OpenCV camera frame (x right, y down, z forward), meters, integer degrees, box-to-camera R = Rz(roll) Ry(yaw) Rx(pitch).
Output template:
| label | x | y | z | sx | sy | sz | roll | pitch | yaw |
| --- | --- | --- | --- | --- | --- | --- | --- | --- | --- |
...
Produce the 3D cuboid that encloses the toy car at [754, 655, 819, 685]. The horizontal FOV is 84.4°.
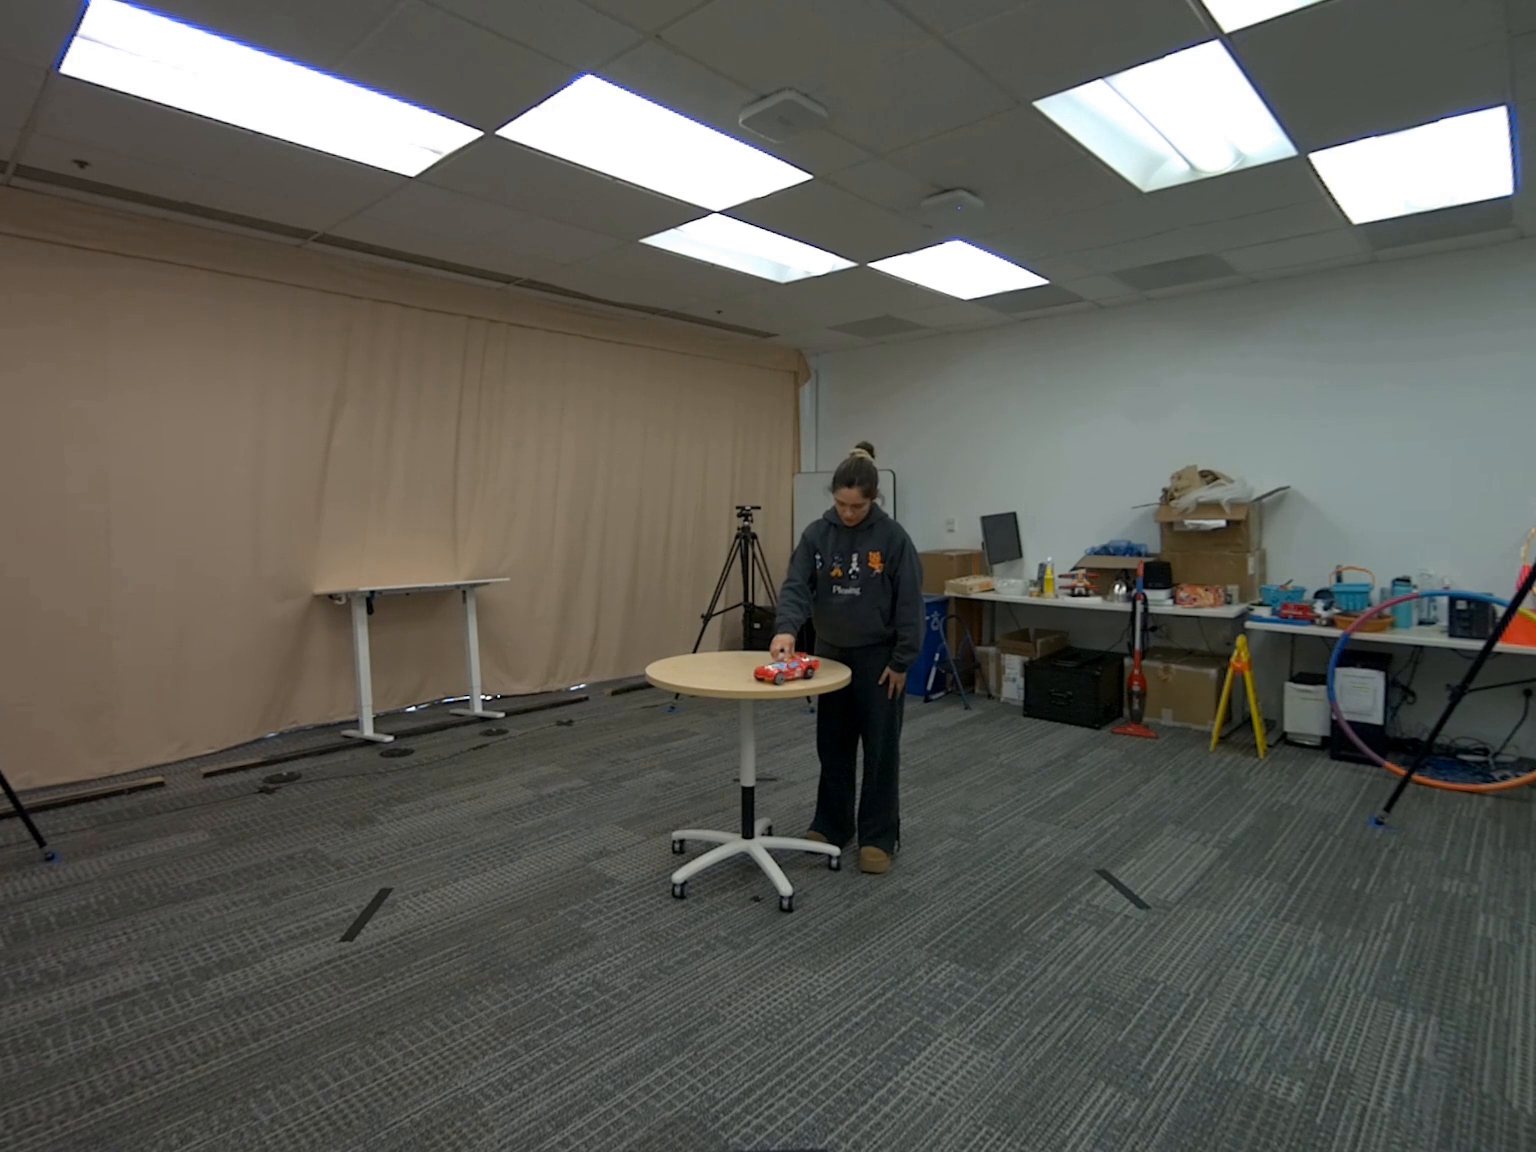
| label | x | y | z | sx | sy | sz | roll | pitch | yaw |
| --- | --- | --- | --- | --- | --- | --- | --- | --- | --- |
| toy car | 0.088 | 0.330 | 2.958 | 0.248 | 0.082 | 0.134 | -19 | 14 | -38 |
